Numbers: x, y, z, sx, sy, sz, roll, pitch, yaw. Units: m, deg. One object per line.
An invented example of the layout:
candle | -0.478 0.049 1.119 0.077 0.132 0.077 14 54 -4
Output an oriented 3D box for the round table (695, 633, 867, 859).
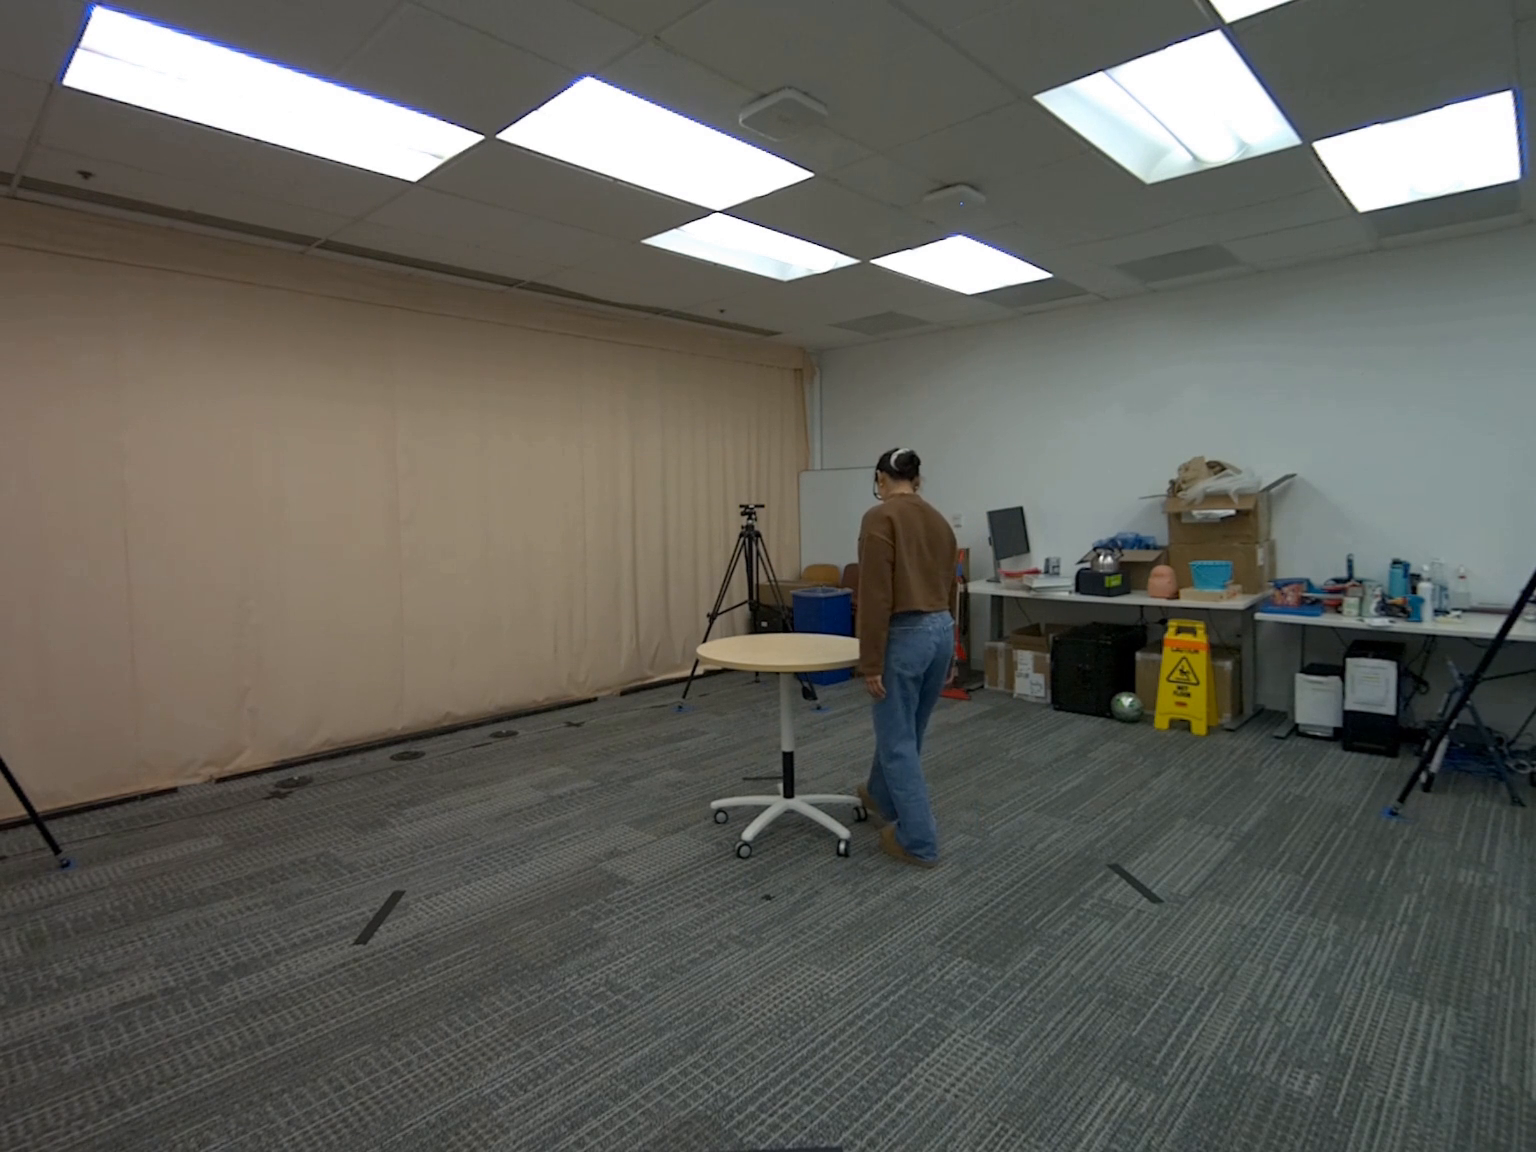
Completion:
round table | 0.083 0.697 3.586 0.763 0.792 0.767 -1 4 -2
